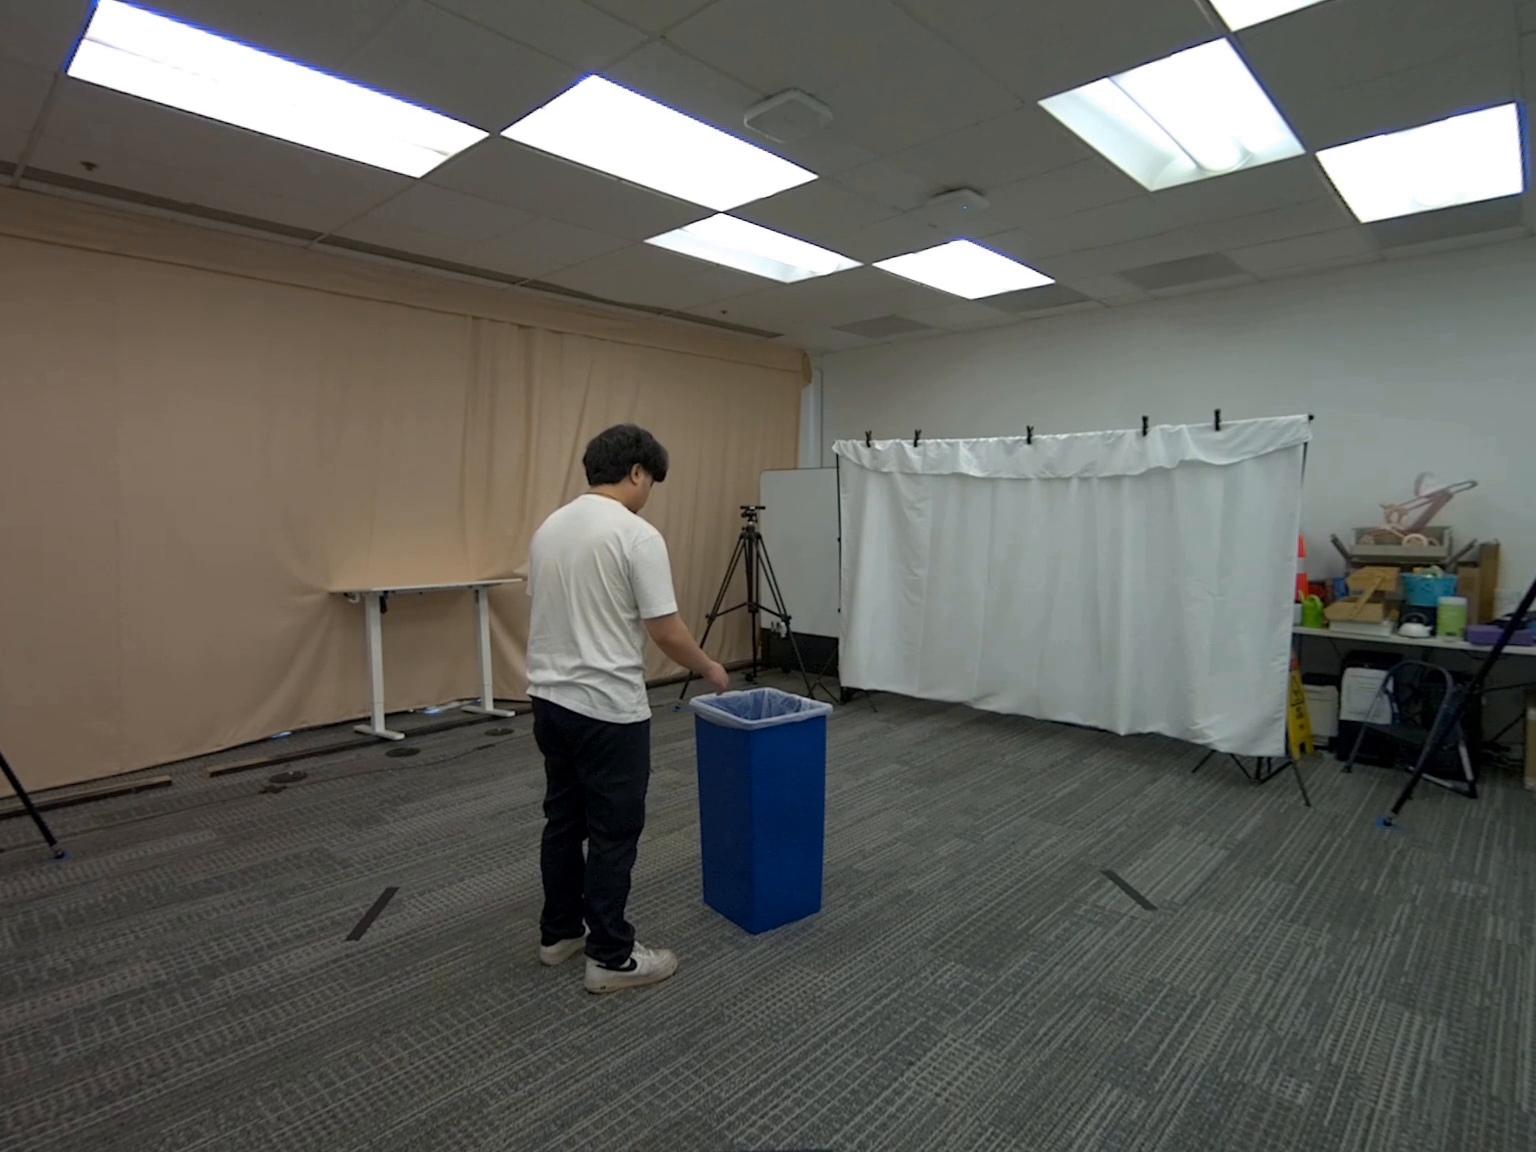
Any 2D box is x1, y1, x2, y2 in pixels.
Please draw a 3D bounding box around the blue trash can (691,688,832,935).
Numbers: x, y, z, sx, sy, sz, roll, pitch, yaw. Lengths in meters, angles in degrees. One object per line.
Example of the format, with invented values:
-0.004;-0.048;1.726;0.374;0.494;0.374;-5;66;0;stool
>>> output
-0.025;0.792;2.907;0.363;0.712;0.390;-2;4;-37;blue trash can
